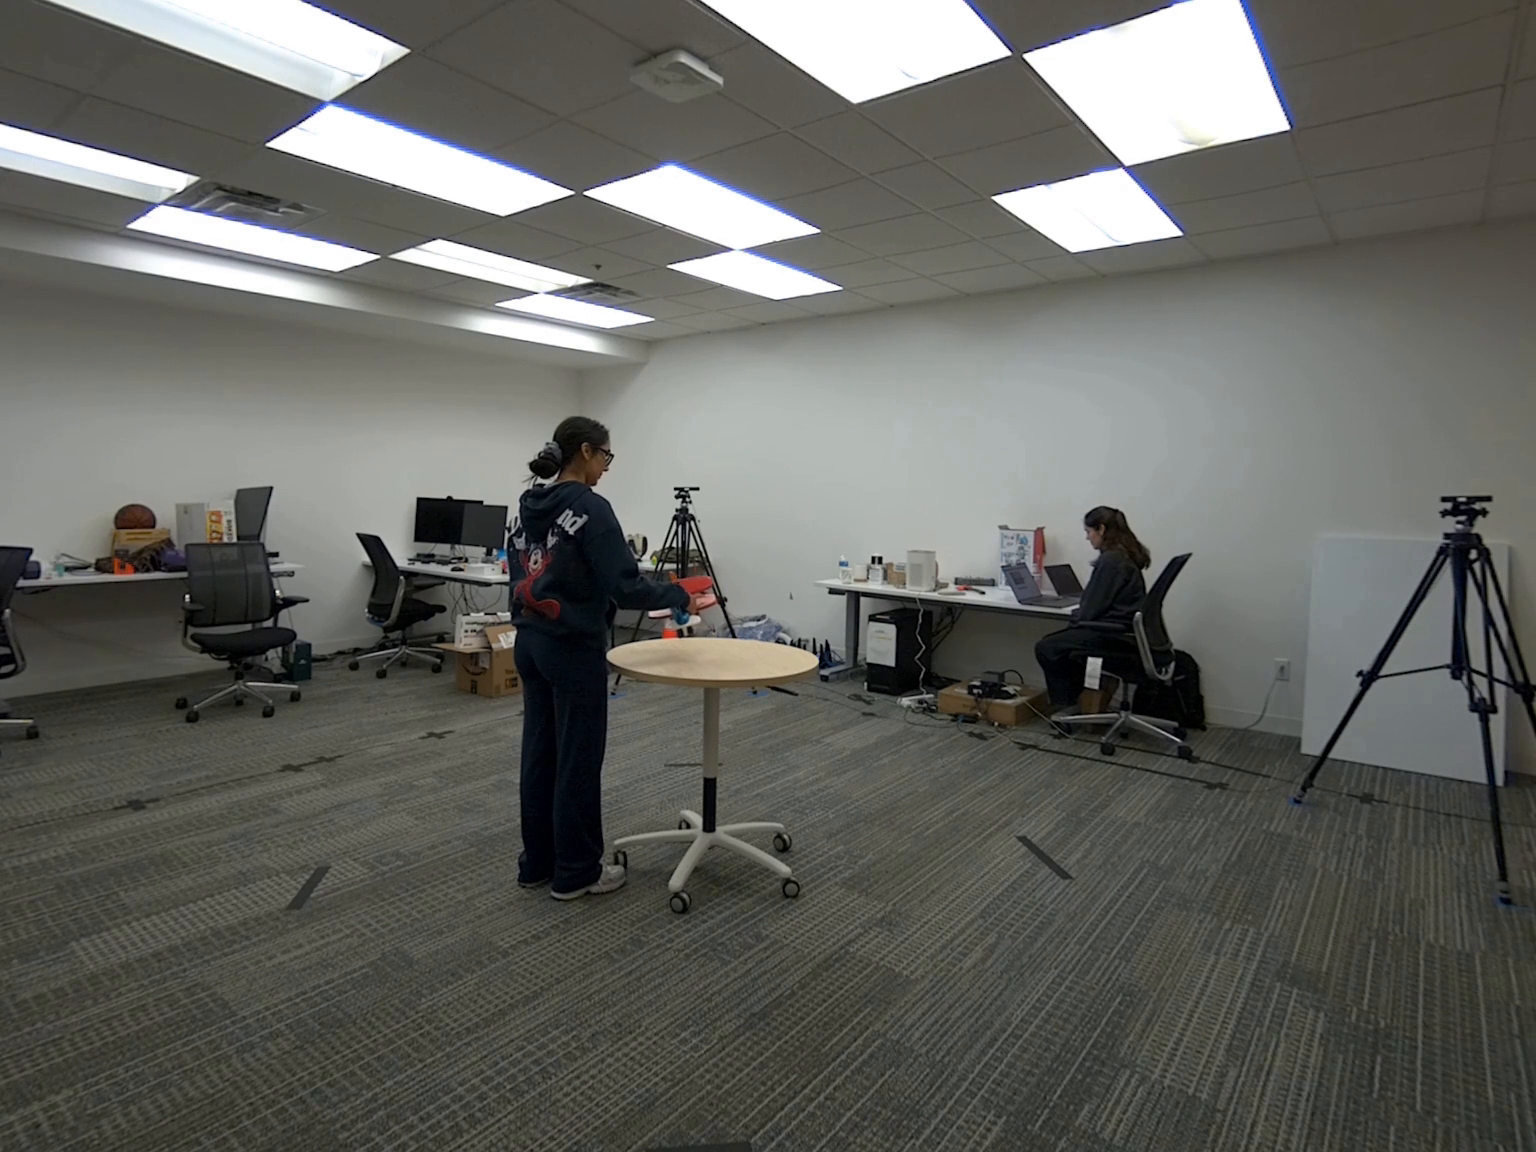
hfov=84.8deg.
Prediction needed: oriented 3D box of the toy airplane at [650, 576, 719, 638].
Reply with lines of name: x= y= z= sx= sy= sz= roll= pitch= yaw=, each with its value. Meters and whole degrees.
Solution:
toy airplane: x=-0.307 y=0.110 z=3.035 sx=0.247 sy=0.153 sz=0.268 roll=-22 pitch=21 yaw=-24
